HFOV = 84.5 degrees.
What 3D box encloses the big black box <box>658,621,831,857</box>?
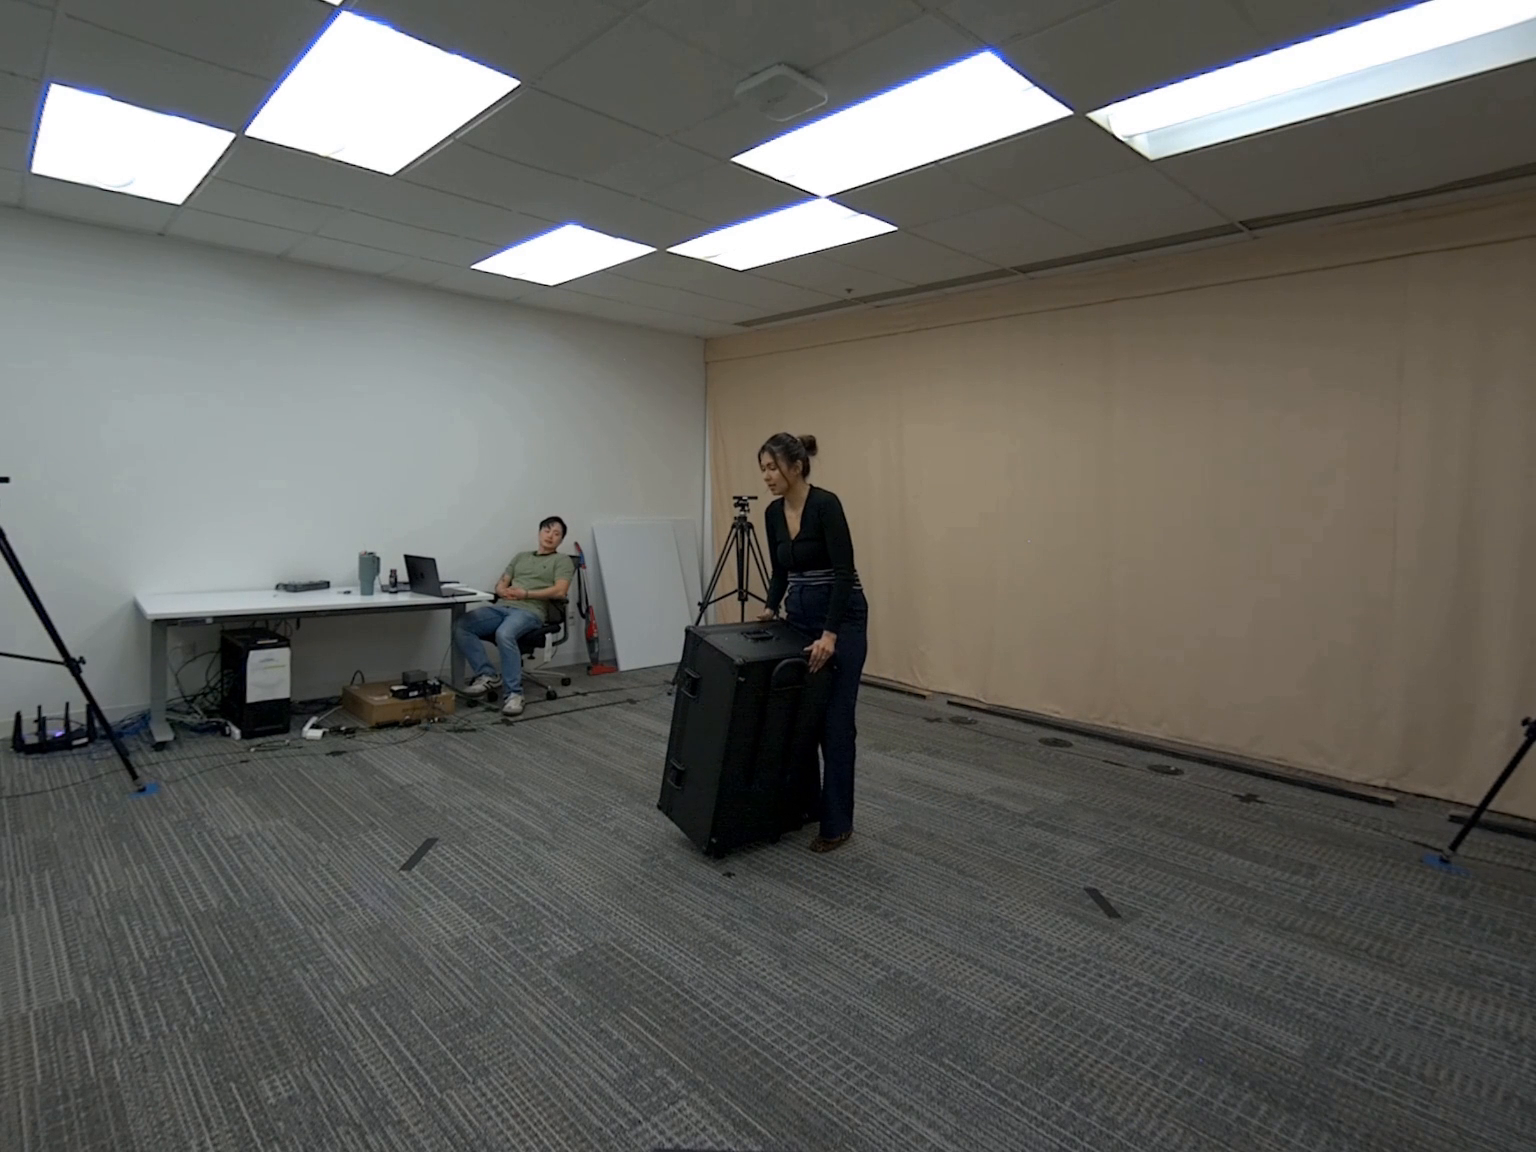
[{"bbox_3d":[-0.094,0.591,3.287,0.509,0.855,0.408,-1,16,-38],"label":"big black box"}]
